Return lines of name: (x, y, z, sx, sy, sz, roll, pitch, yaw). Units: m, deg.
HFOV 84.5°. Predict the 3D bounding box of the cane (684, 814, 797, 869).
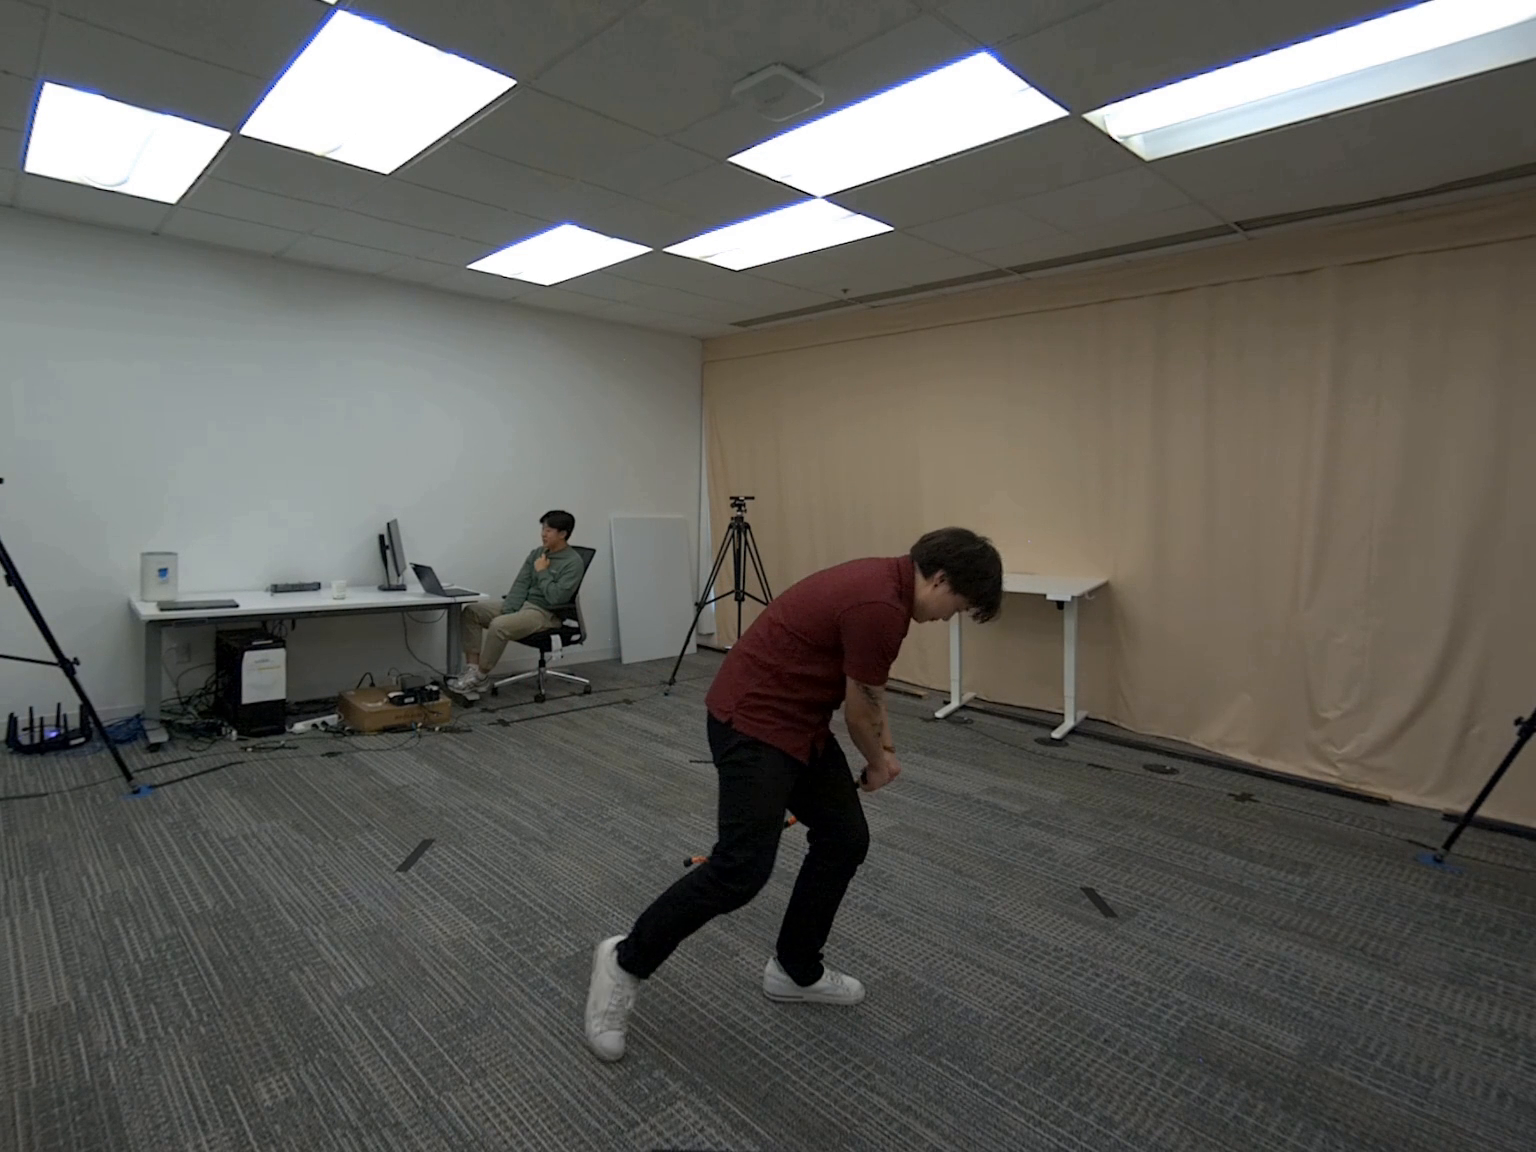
cane: (0.072, 0.816, 2.717, 0.202, 0.154, 0.910, -5, -28, -47)
